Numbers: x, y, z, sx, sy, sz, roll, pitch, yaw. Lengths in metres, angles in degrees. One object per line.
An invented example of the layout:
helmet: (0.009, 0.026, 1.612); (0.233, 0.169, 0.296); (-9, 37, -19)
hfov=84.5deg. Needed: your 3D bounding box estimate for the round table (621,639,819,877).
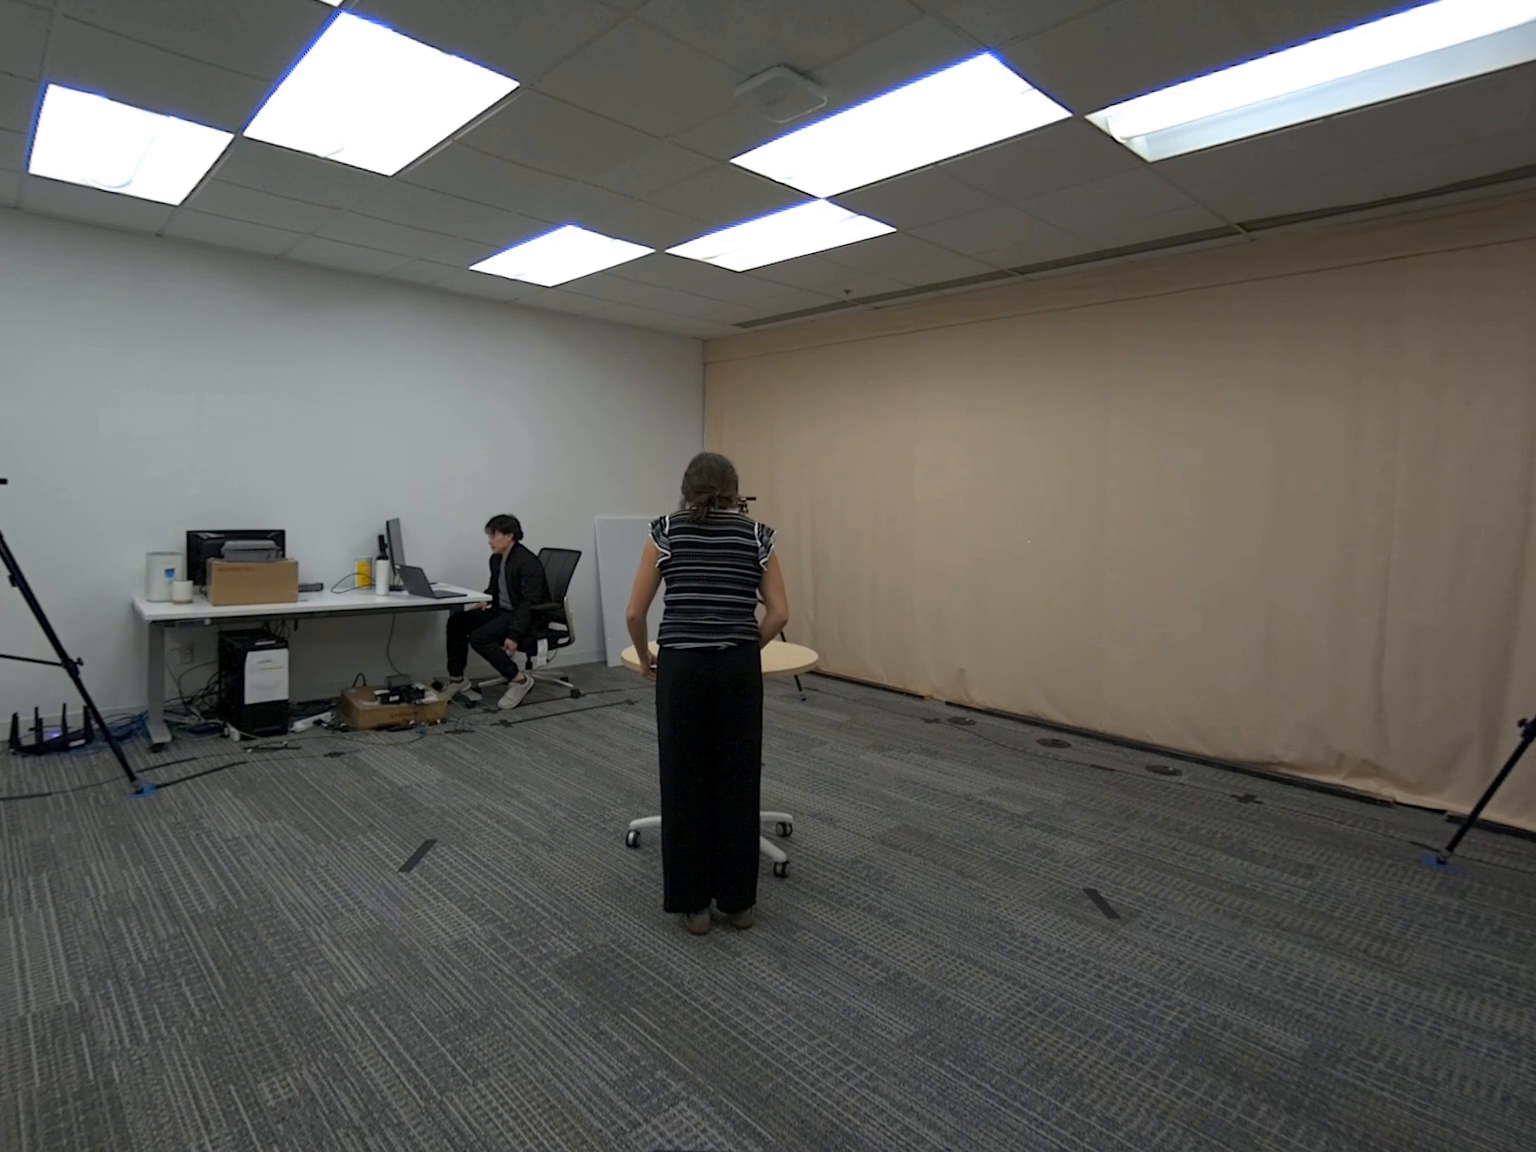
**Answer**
round table: (-0.200, 0.694, 3.321); (0.784, 0.784, 0.788); (1, 5, -1)
